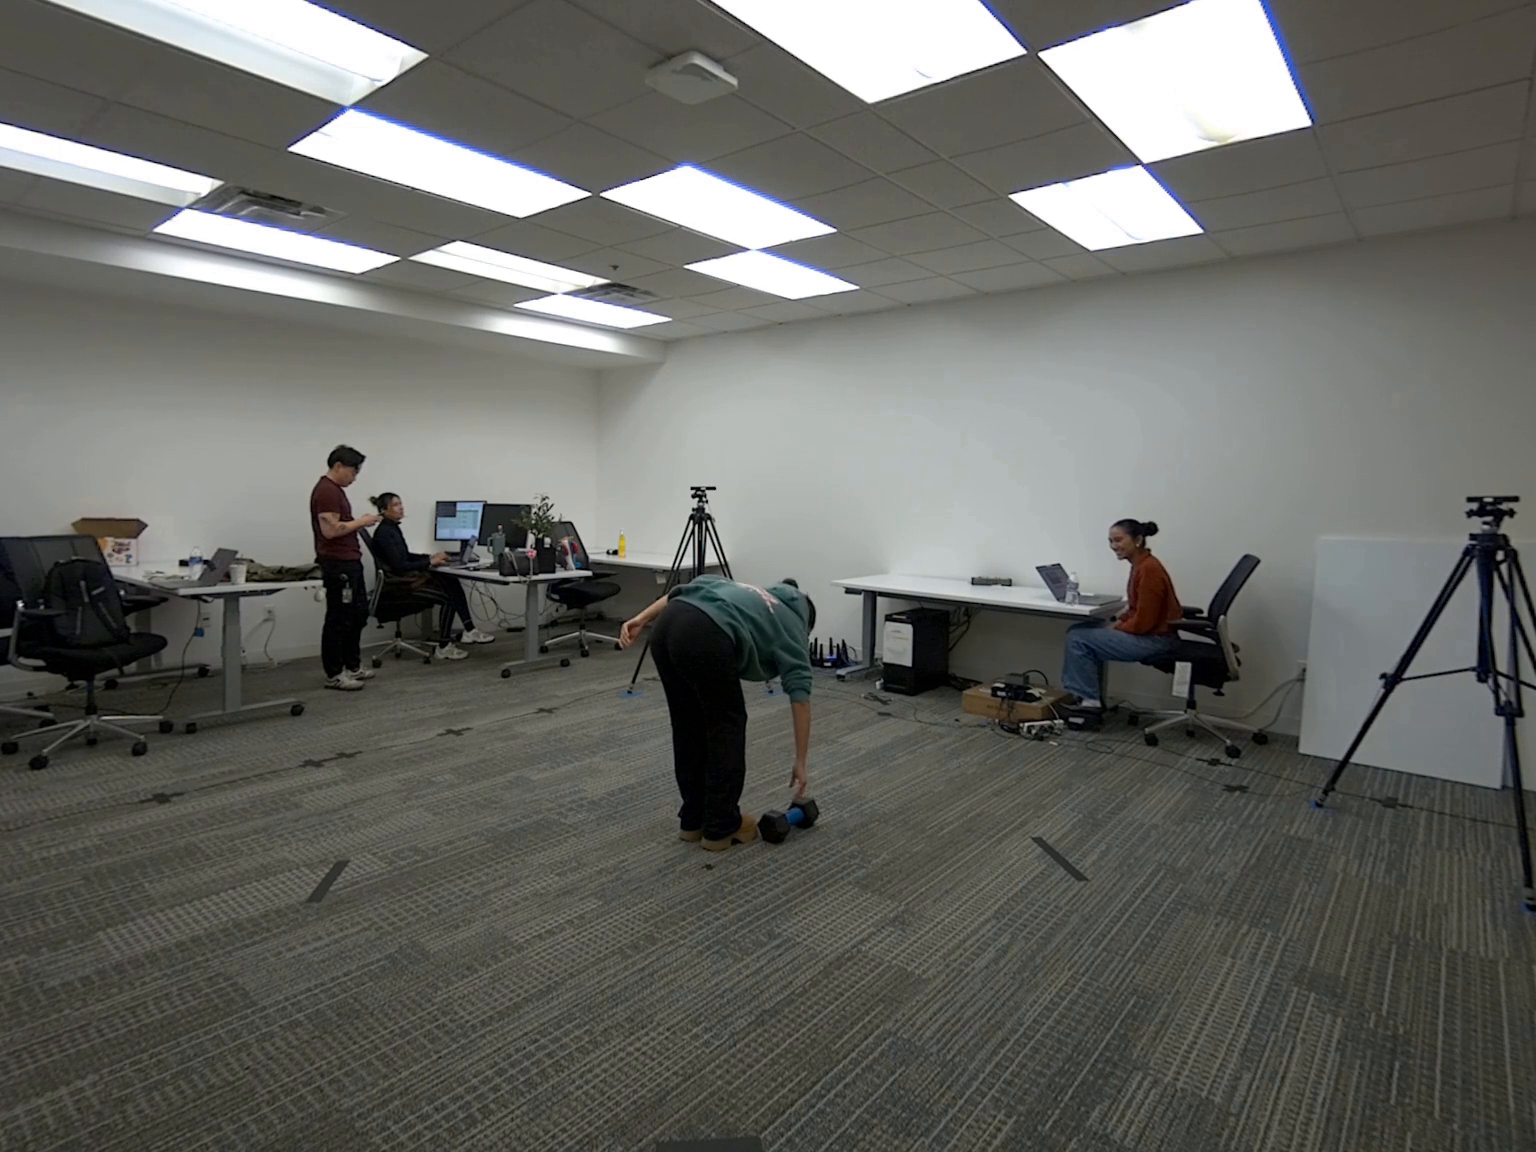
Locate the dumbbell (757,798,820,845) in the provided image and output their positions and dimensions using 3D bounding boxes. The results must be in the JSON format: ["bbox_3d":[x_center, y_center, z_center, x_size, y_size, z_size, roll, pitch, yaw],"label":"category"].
[{"bbox_3d":[0.079,0.987,3.446,0.113,0.122,0.285,40,26,29],"label":"dumbbell"}]
